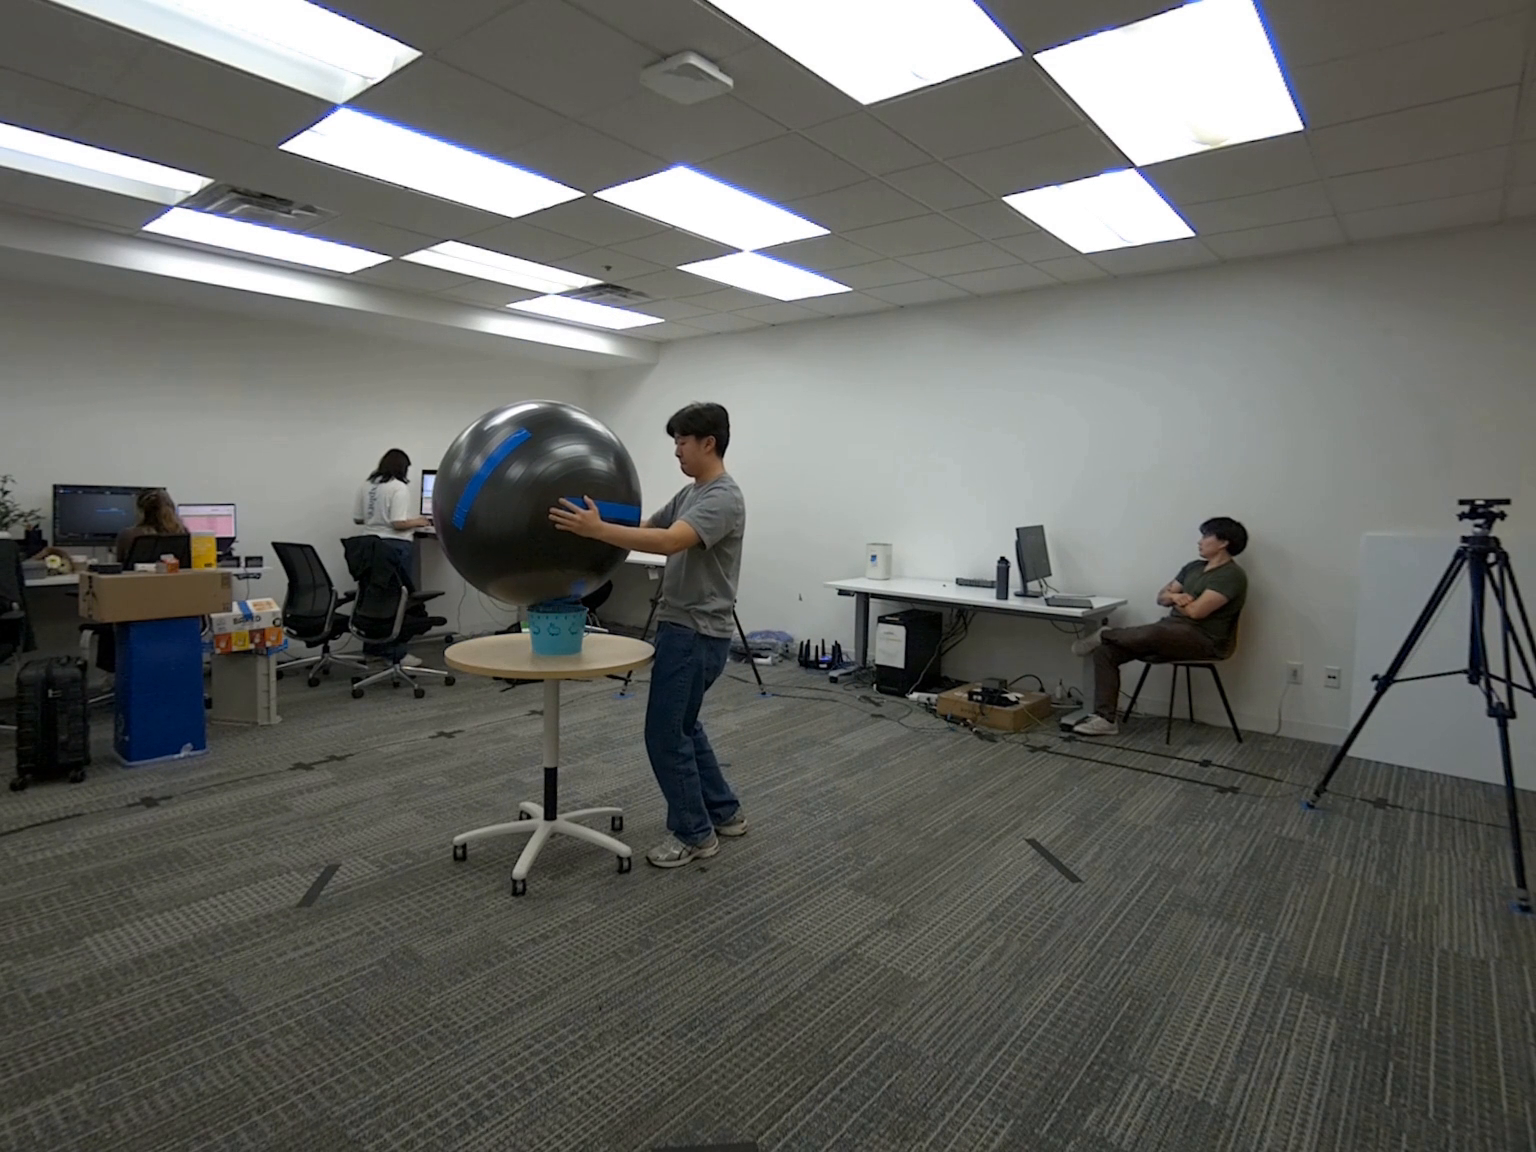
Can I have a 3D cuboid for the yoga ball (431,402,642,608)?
[{"bbox_3d":[-0.870,-0.267,3.145,0.757,0.755,0.762,1,4,-2],"label":"yoga ball"}]
